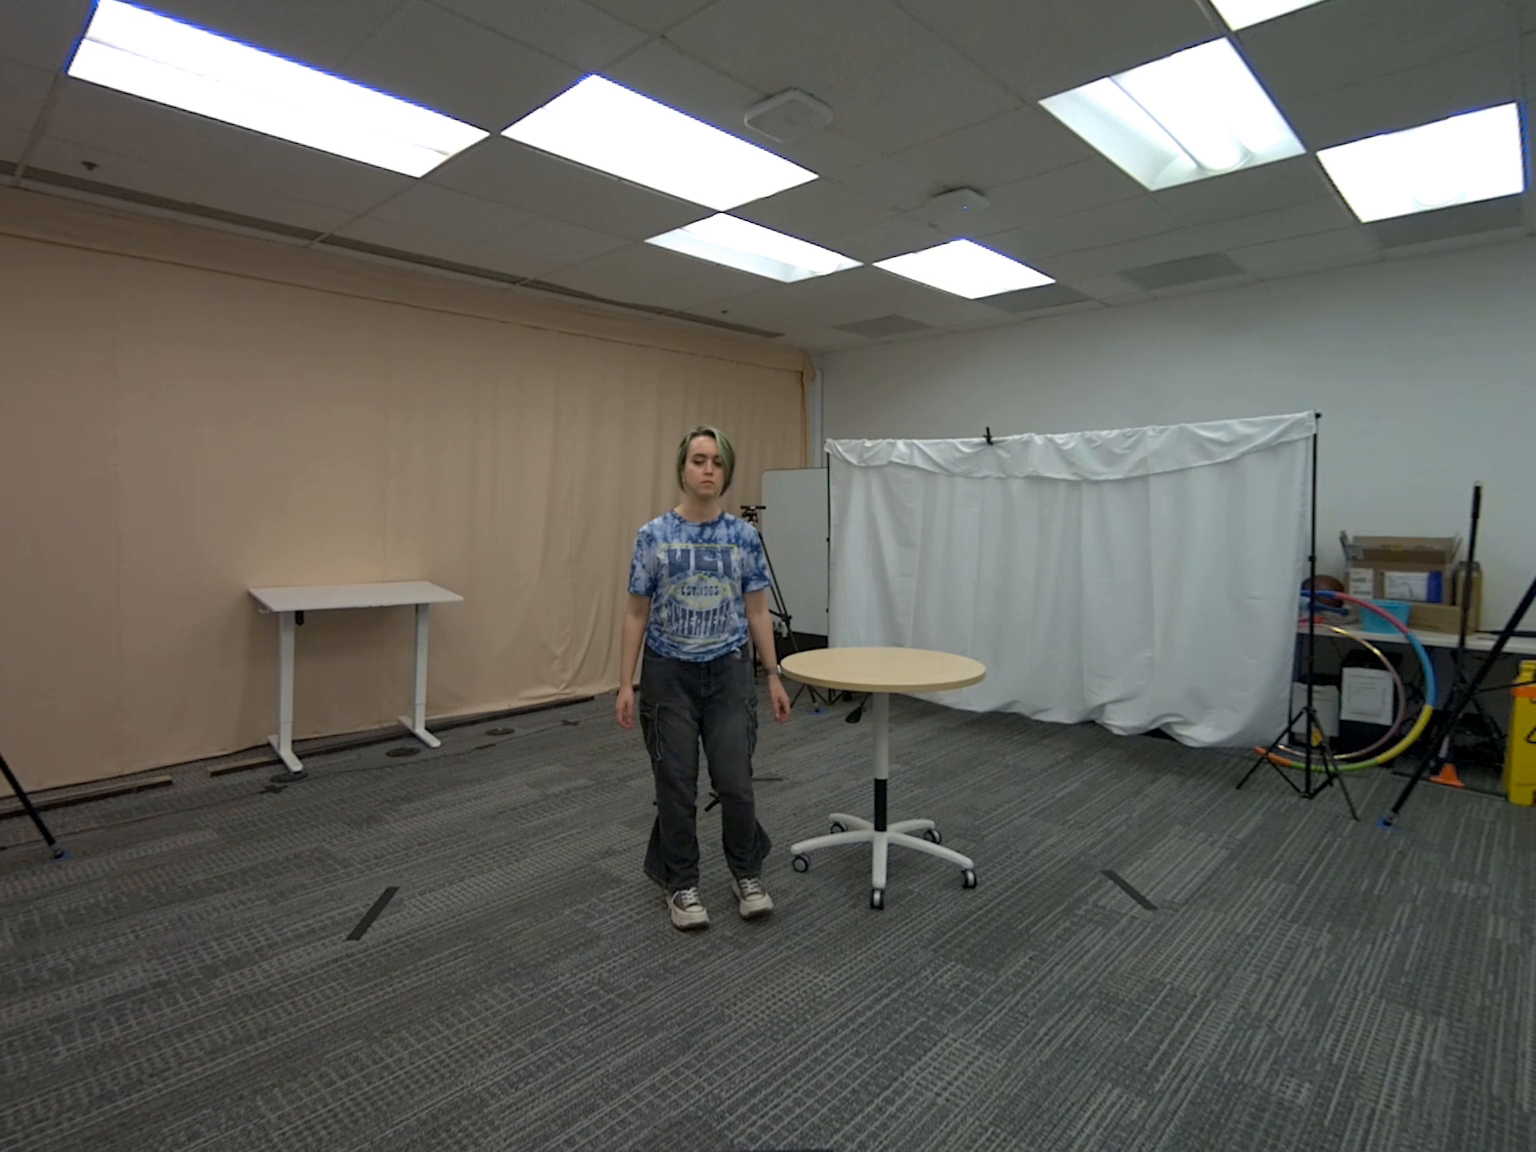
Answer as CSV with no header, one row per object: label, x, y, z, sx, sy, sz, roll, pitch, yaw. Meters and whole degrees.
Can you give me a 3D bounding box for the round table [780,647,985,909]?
round table,0.435,0.731,3.234,0.763,0.792,0.766,0,3,-2
